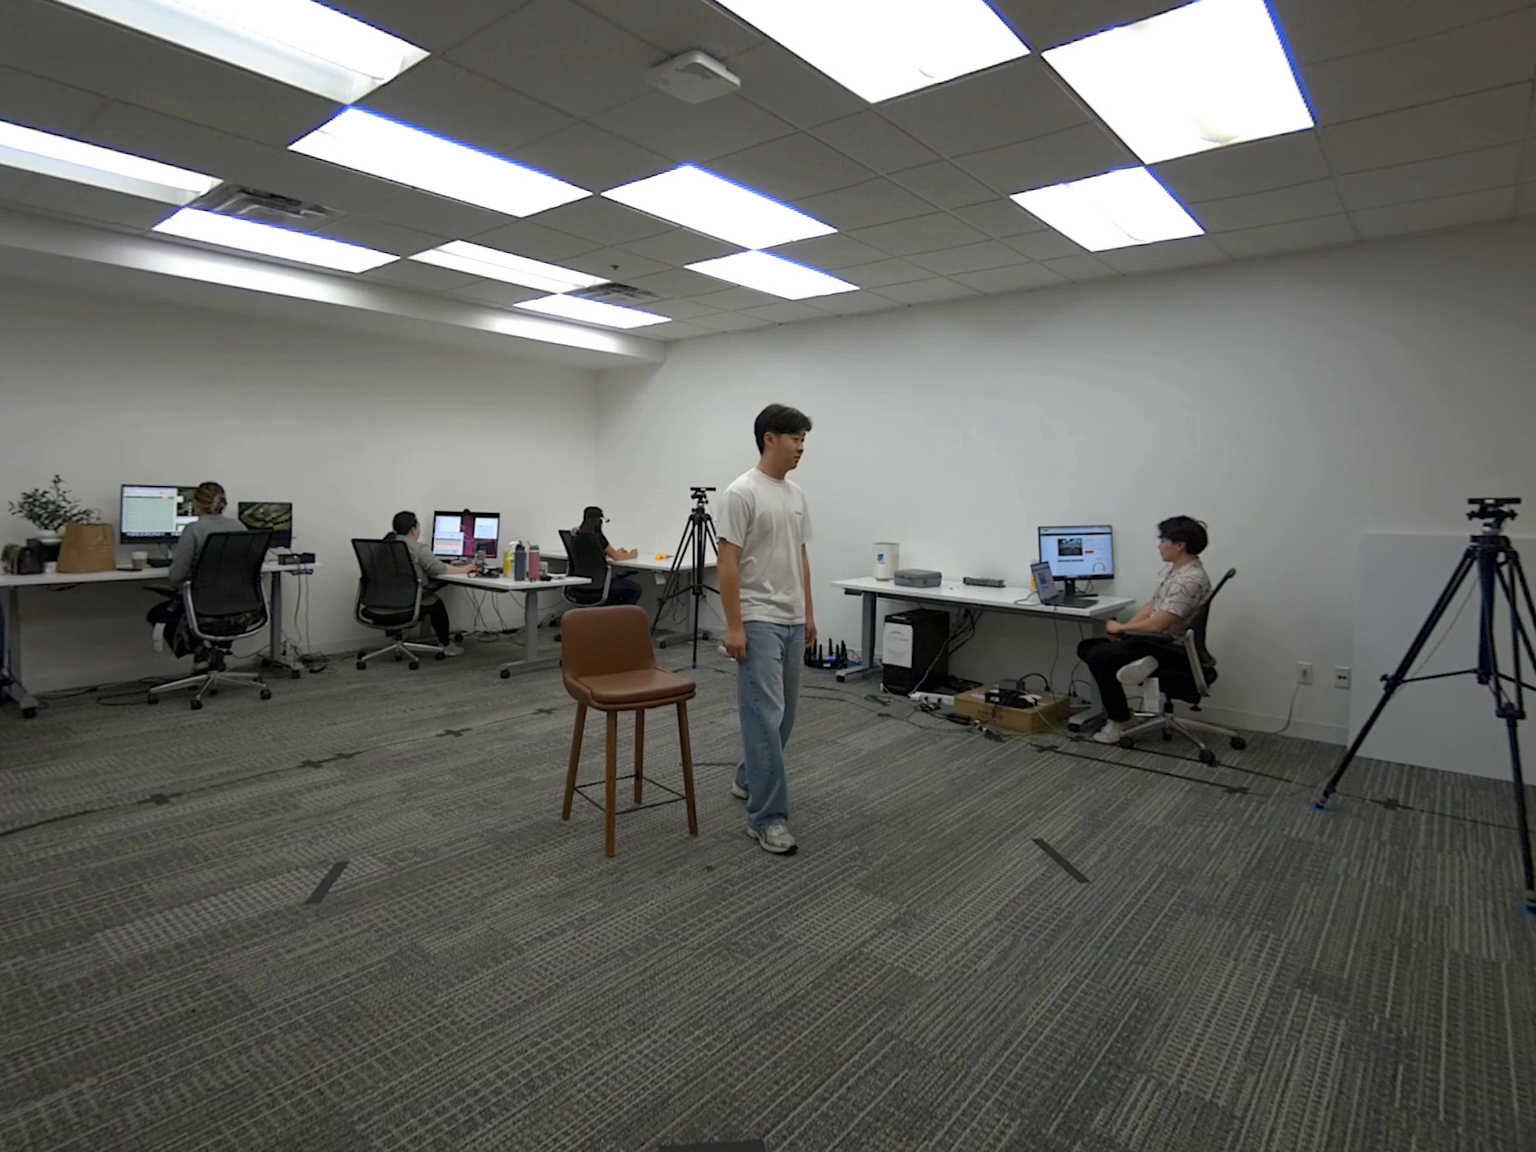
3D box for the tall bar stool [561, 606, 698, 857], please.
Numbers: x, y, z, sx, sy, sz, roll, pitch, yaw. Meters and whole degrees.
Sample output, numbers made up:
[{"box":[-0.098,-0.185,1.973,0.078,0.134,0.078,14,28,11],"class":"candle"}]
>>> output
[{"box":[-0.588,0.588,3.465,0.443,0.889,0.482,-1,2,-38],"class":"tall bar stool"}]
